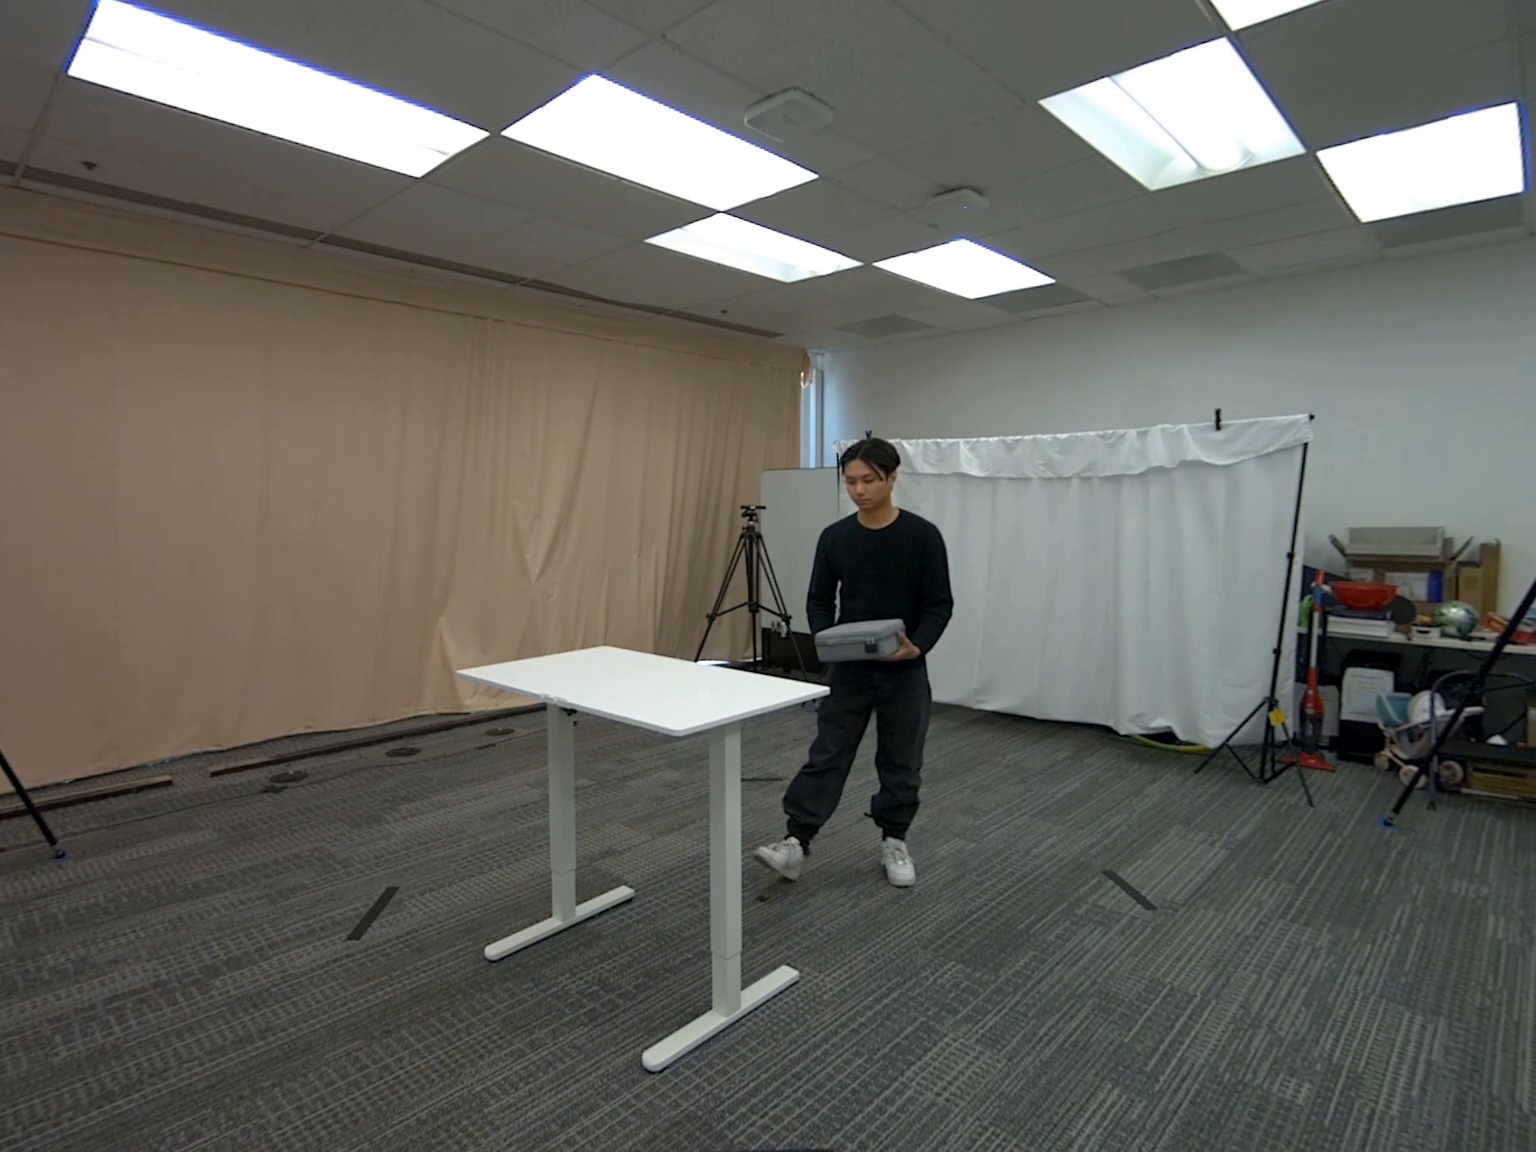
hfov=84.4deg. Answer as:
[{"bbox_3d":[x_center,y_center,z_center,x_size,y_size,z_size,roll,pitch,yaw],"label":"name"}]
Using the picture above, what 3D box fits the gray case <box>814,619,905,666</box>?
[{"bbox_3d":[0.314,0.226,2.915,0.268,0.104,0.250,-7,3,34],"label":"gray case"}]
